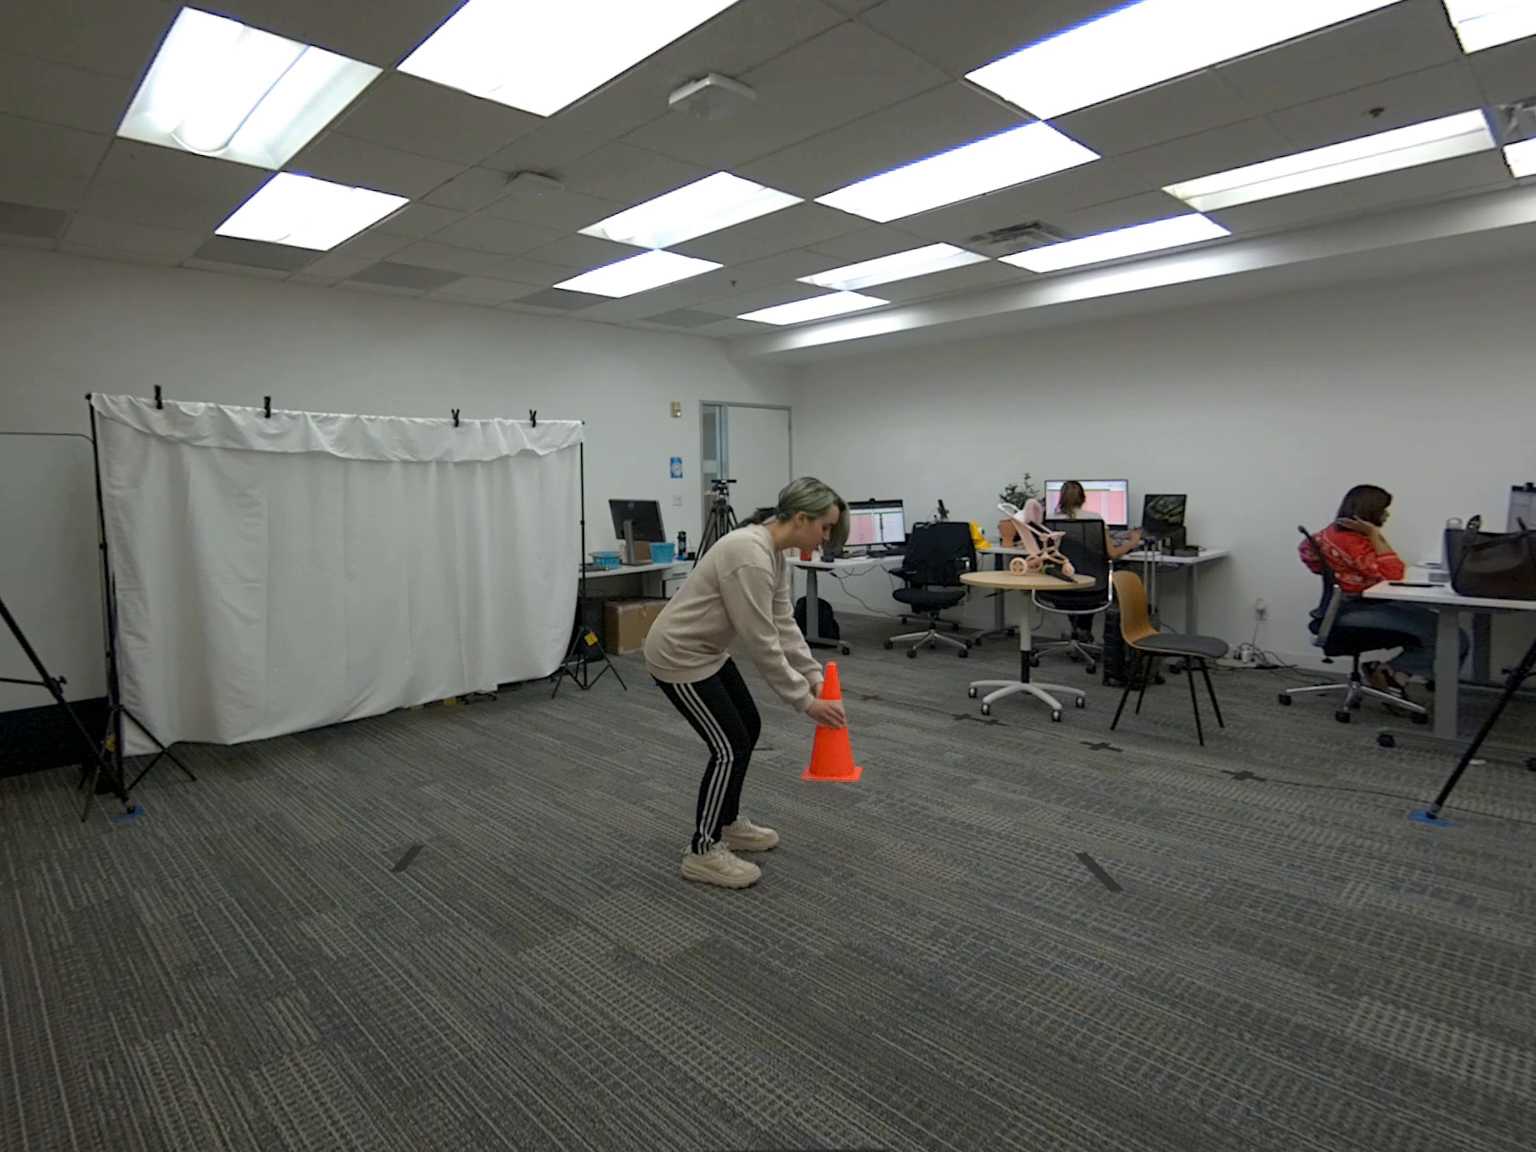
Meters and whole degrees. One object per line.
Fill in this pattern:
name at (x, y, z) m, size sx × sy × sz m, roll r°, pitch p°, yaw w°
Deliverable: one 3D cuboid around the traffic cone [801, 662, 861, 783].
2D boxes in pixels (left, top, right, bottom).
traffic cone at (0.213, 0.493, 2.985) m, size 0.207 × 0.384 × 0.201 m, roll -2°, pitch -1°, yaw 19°
